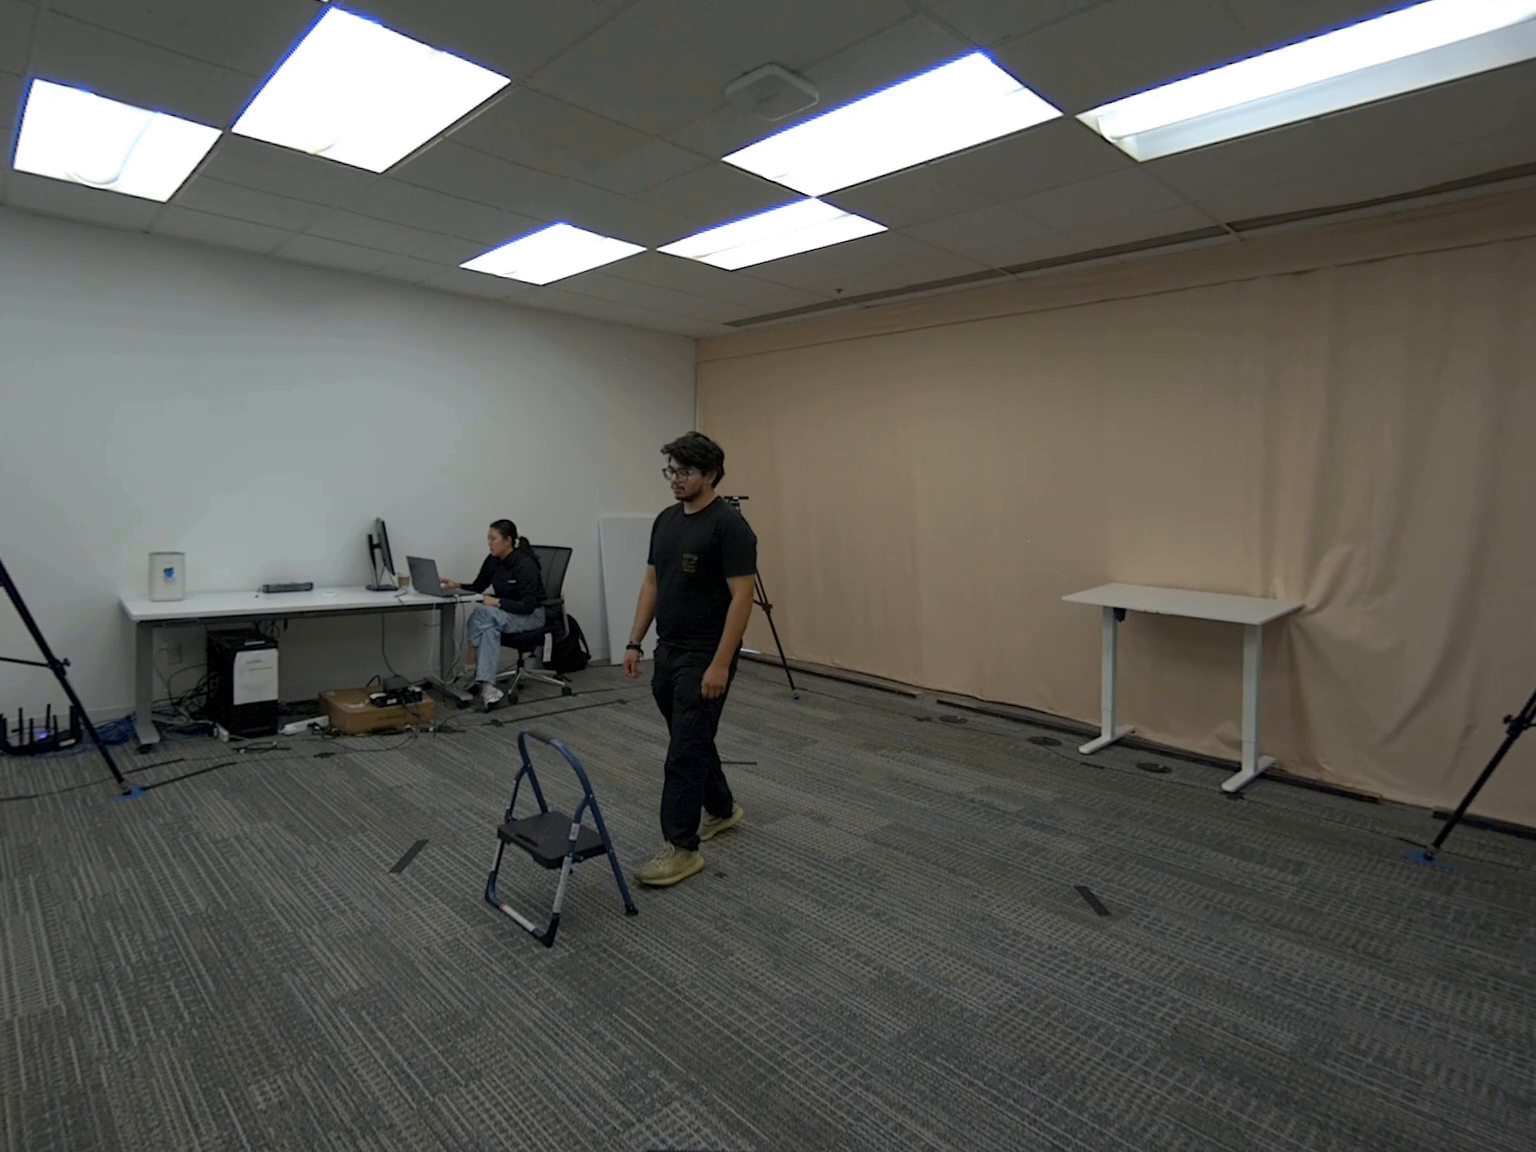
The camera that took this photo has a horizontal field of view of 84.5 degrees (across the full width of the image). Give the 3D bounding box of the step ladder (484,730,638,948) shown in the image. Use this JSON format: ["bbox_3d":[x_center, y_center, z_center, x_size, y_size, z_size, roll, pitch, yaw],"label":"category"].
[{"bbox_3d":[-0.700,0.816,2.821,0.441,0.605,0.341,4,5,45],"label":"step ladder"}]
